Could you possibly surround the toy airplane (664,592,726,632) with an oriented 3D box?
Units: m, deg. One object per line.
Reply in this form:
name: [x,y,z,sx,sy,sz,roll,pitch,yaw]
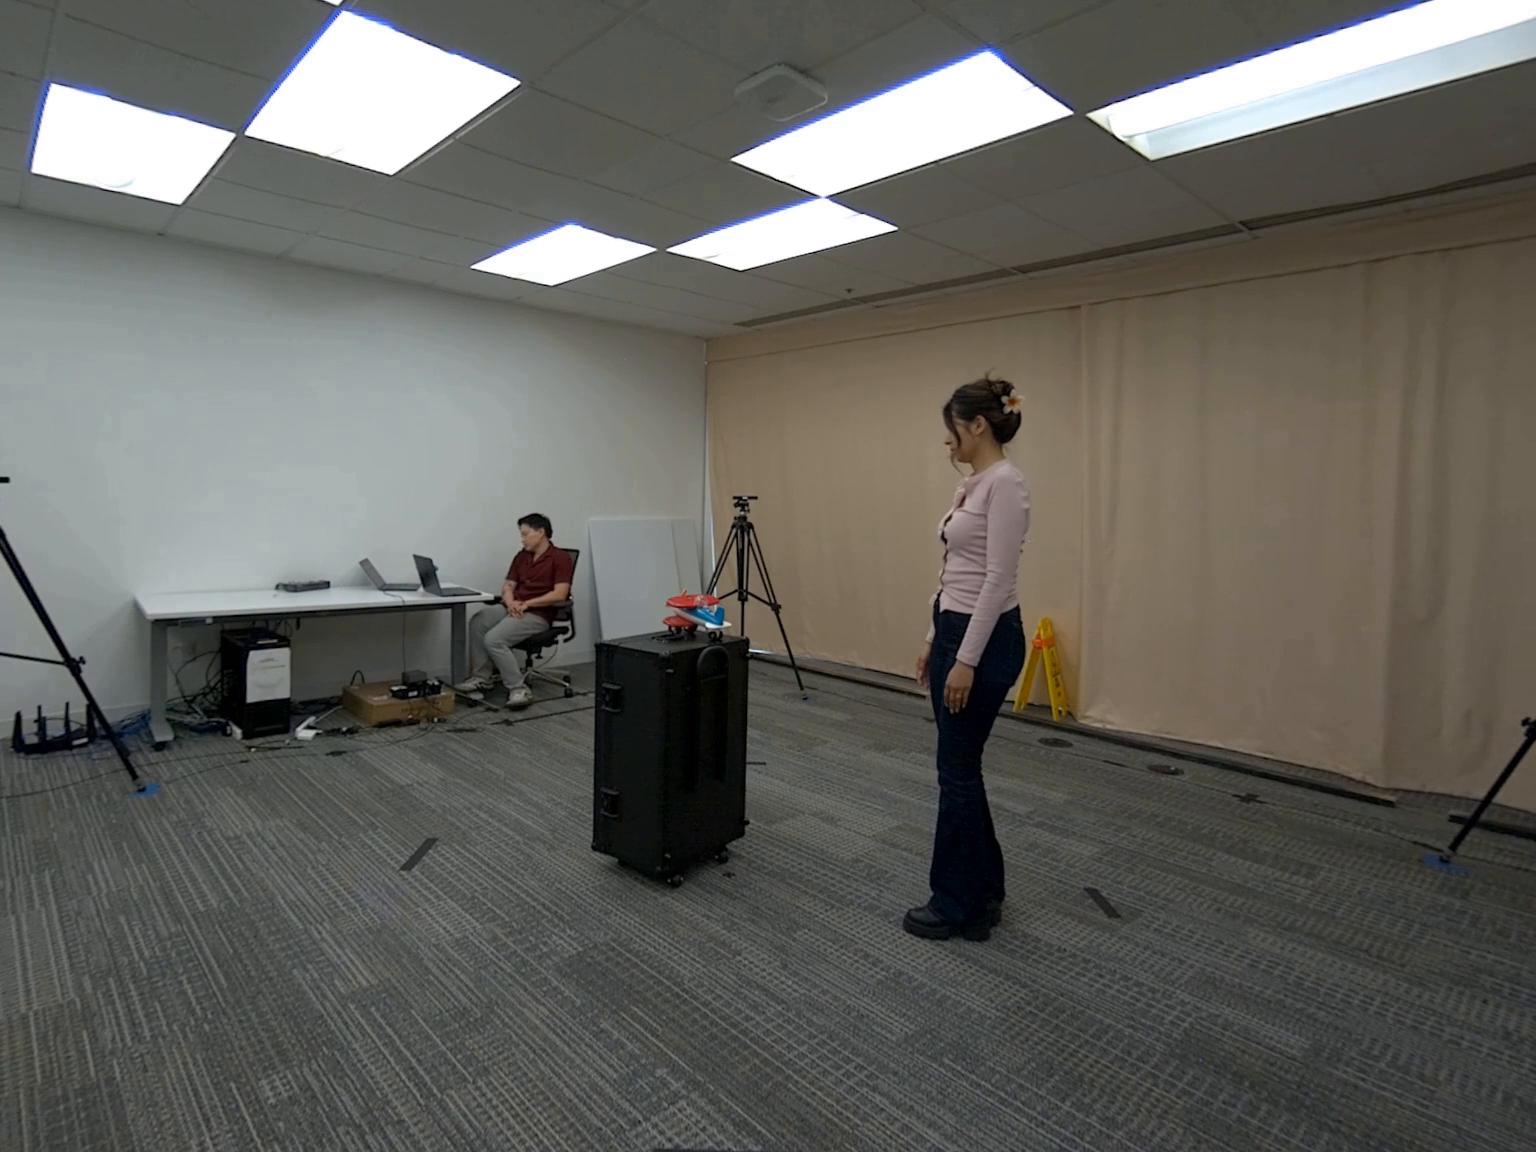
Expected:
toy airplane: [-0.276,0.157,3.271,0.262,0.156,0.249,1,5,14]
